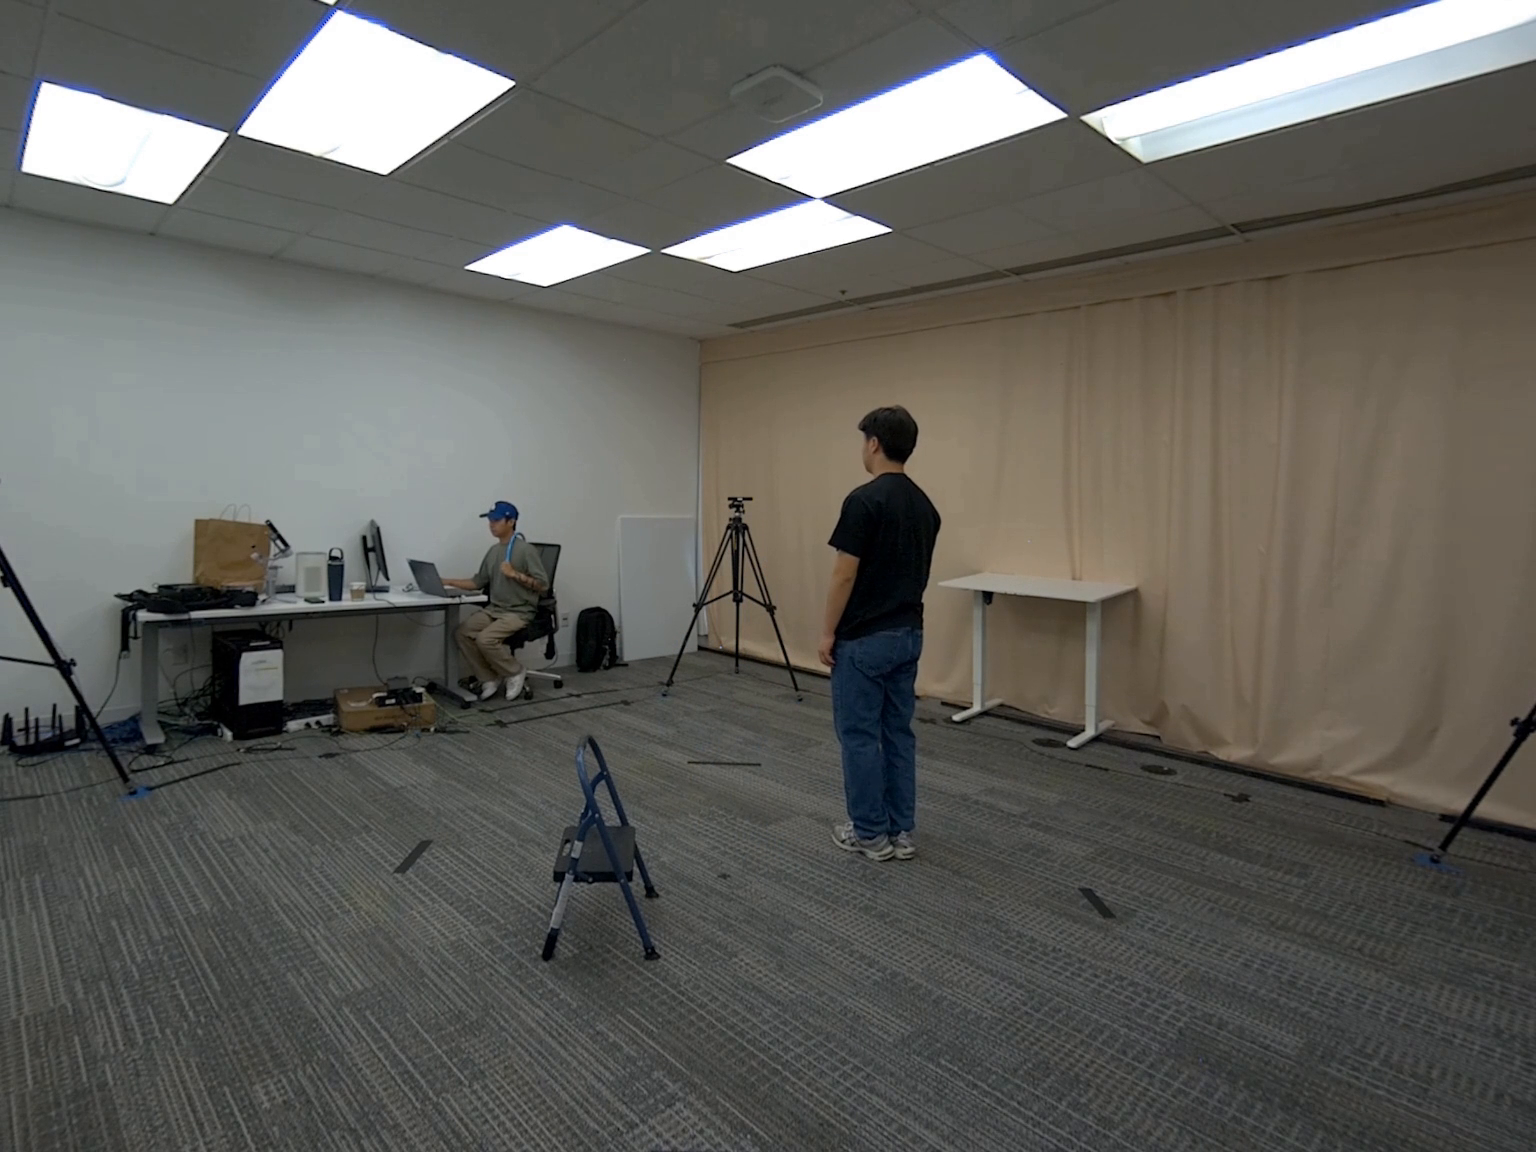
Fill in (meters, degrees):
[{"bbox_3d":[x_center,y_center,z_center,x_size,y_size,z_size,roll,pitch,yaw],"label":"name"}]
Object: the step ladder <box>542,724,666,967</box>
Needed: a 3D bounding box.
[{"bbox_3d":[-0.518,0.831,2.713,0.347,0.605,0.434,1,3,-8],"label":"step ladder"}]
